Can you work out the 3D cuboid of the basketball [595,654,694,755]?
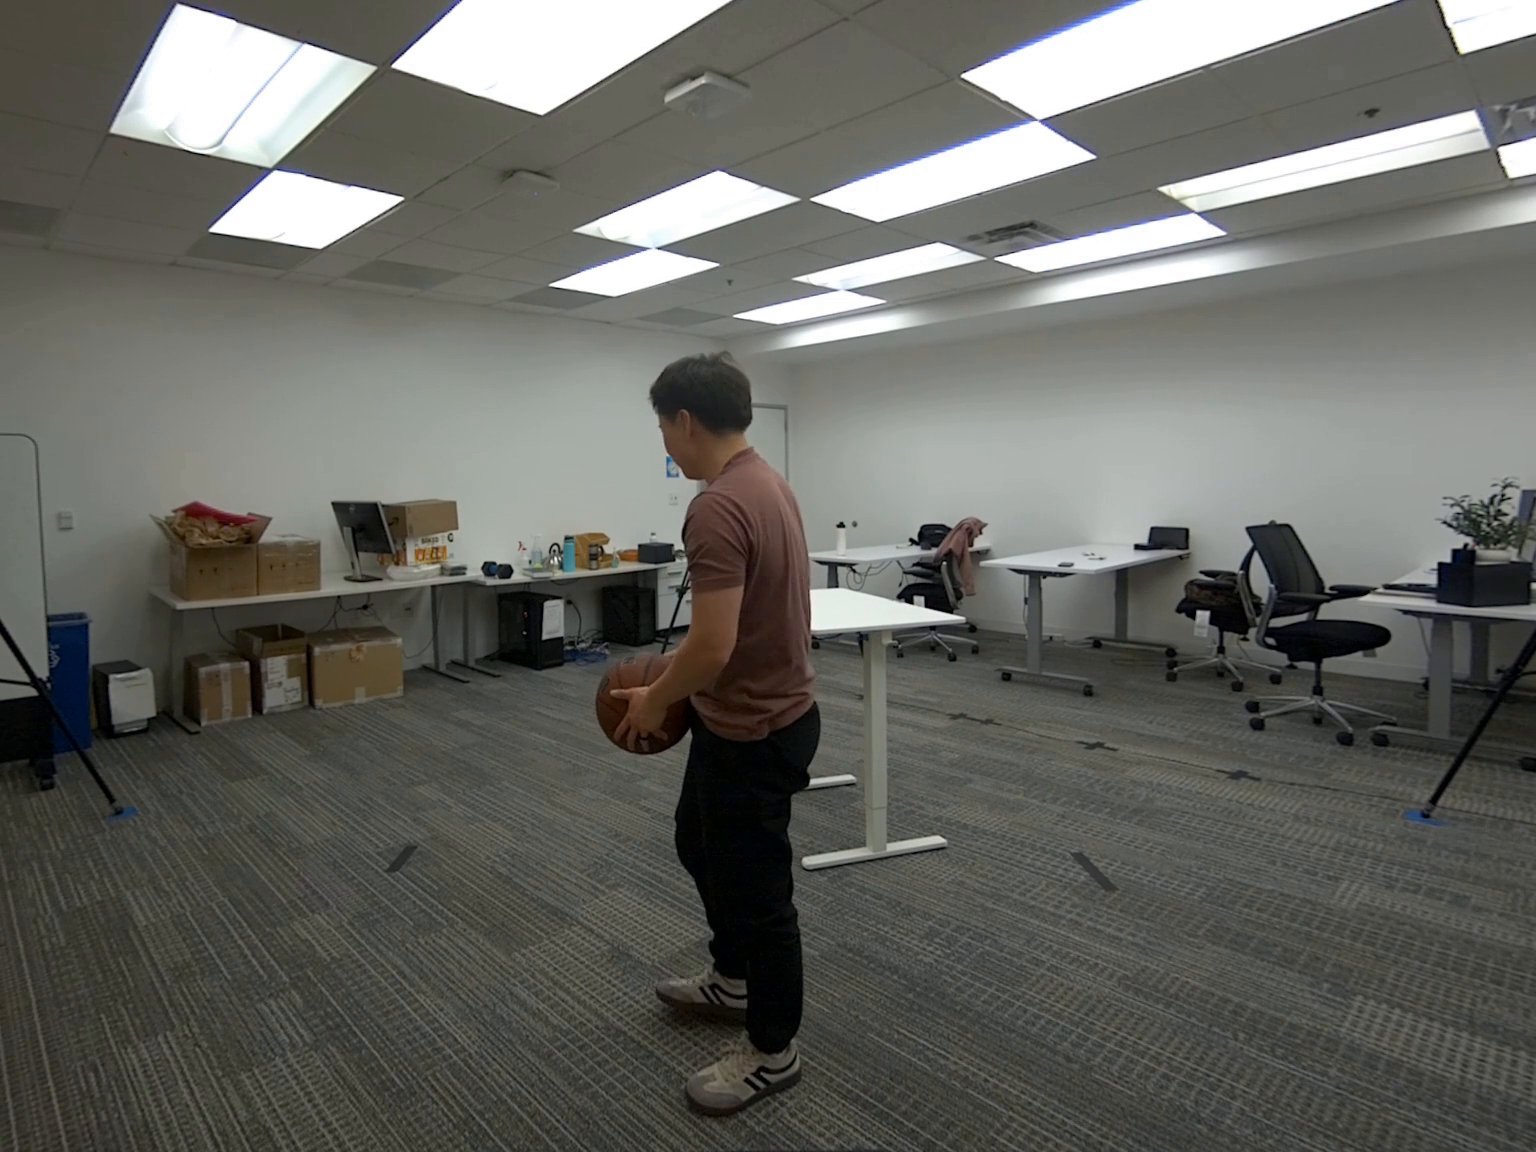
[{"bbox_3d":[-0.272,0.298,1.991,0.236,0.235,0.237,-1,5,-2],"label":"basketball"}]
